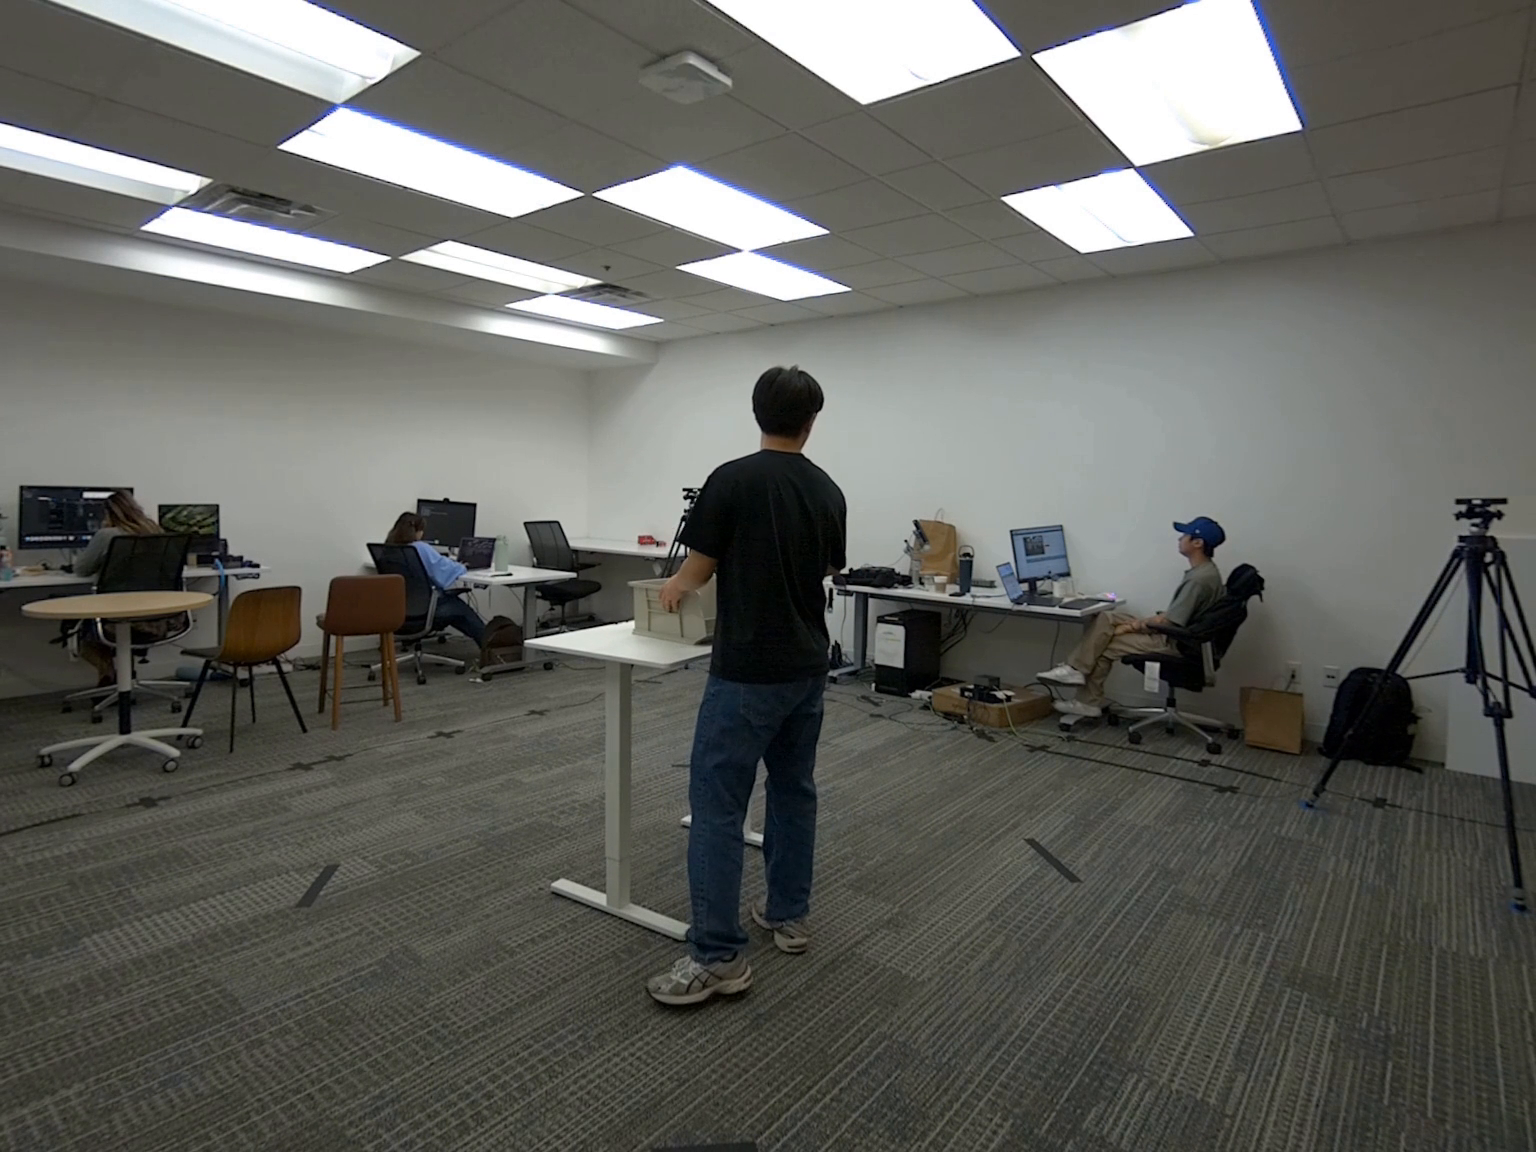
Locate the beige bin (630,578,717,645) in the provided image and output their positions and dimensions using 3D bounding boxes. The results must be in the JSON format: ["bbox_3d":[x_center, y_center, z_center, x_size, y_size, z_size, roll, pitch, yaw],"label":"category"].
[{"bbox_3d":[-0.213,0.109,2.978,0.390,0.188,0.410,3,7,42],"label":"beige bin"}]
